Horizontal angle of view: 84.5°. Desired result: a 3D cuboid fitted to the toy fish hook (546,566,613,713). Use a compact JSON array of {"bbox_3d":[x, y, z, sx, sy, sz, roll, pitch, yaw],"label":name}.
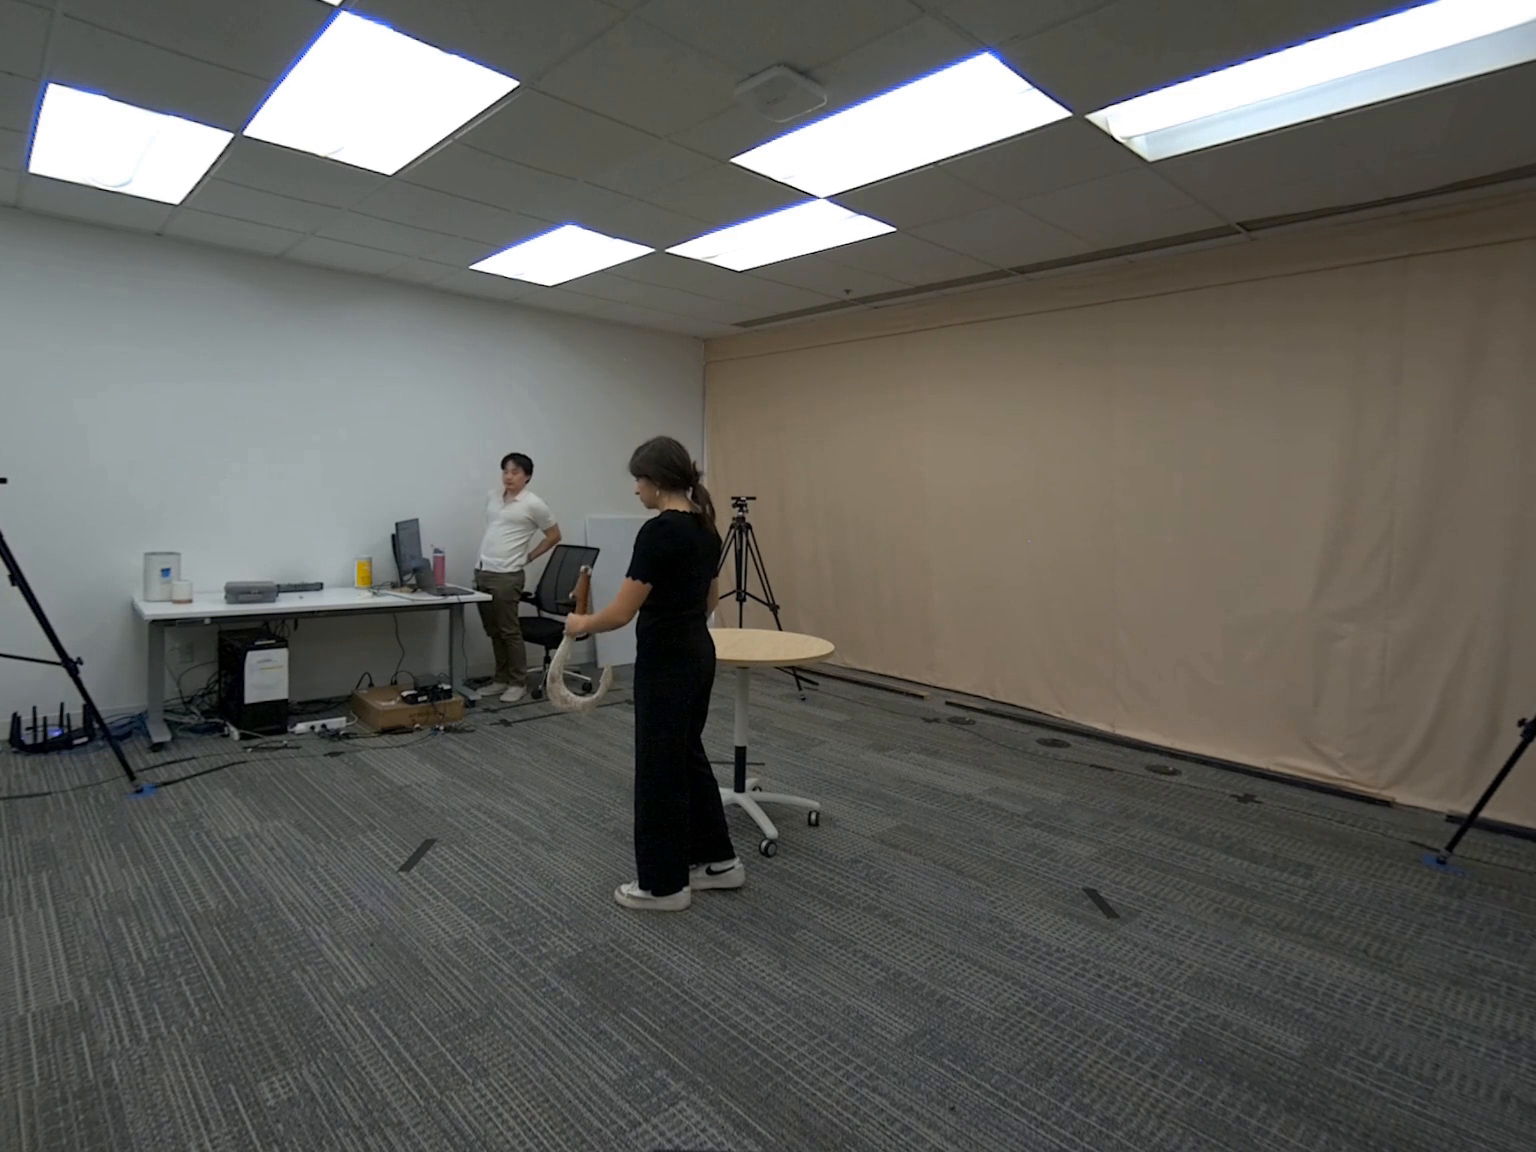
[{"bbox_3d":[-0.616,0.213,2.878,0.226,0.507,0.048,9,-1,7],"label":"toy fish hook"}]
